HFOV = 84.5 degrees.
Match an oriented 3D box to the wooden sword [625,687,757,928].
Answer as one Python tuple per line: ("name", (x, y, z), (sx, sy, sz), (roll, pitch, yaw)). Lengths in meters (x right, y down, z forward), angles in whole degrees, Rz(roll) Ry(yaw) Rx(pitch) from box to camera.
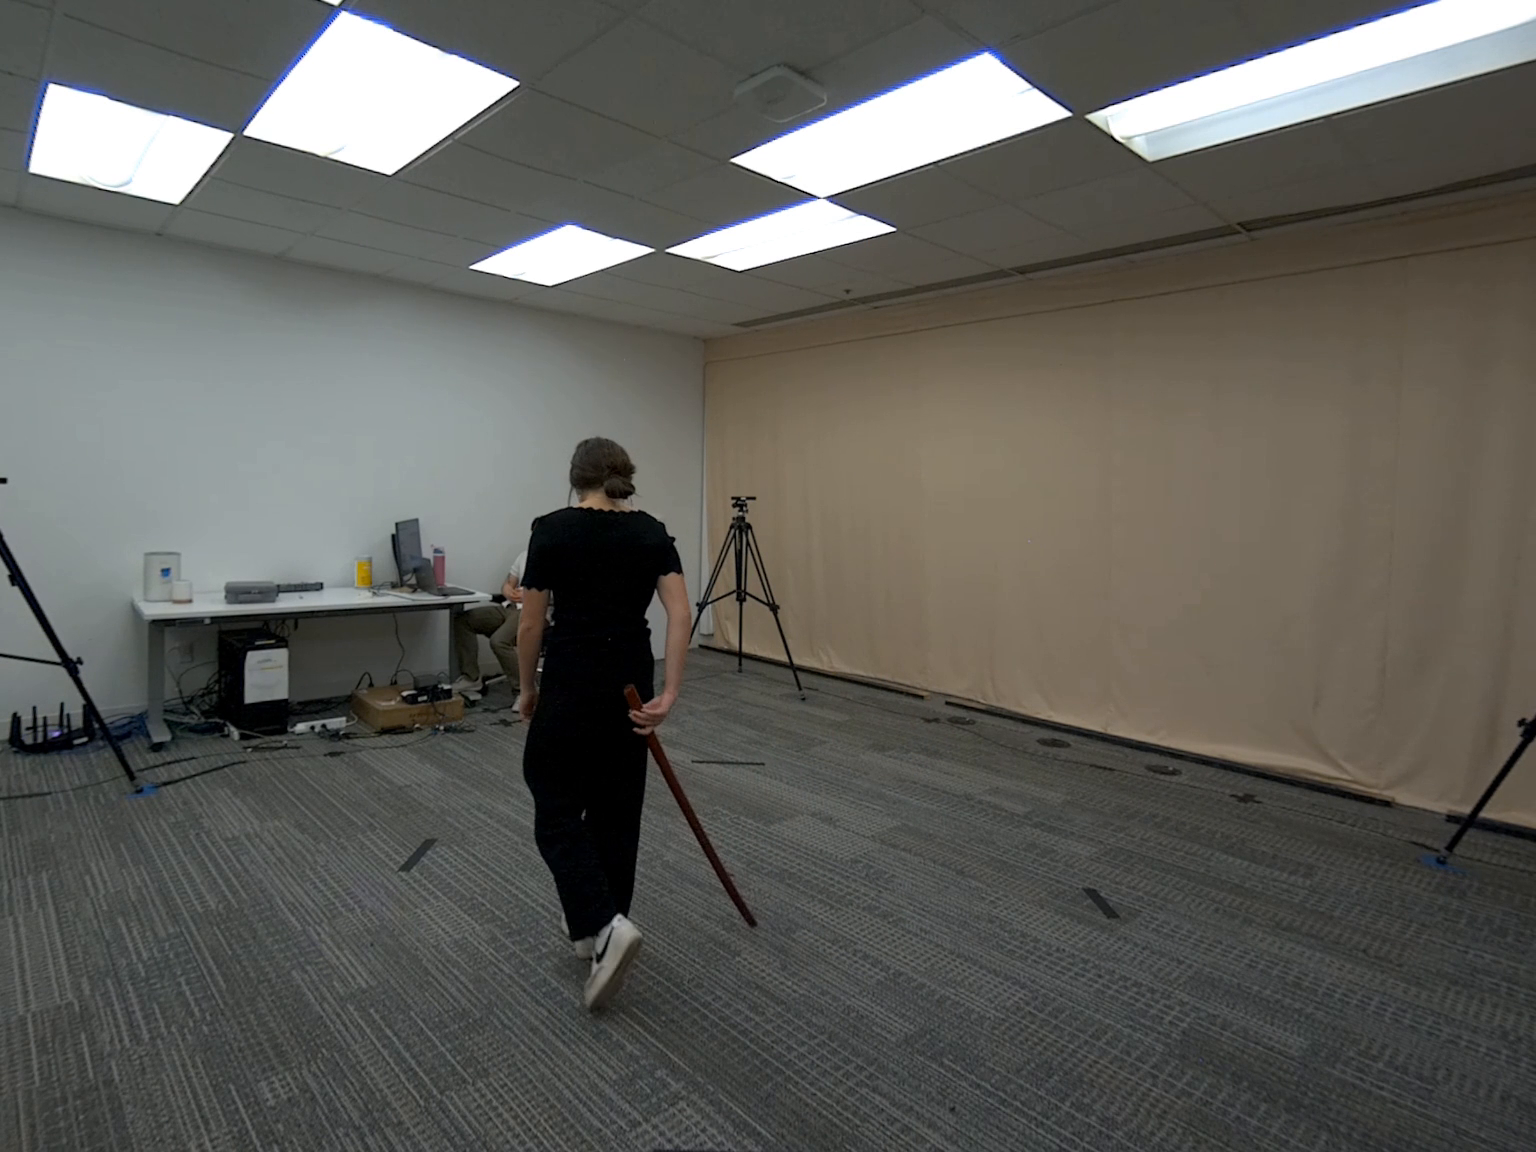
("wooden sword", (-0.220, 0.741, 2.516), (0.052, 1.000, 0.024), (-12, 30, 17))
